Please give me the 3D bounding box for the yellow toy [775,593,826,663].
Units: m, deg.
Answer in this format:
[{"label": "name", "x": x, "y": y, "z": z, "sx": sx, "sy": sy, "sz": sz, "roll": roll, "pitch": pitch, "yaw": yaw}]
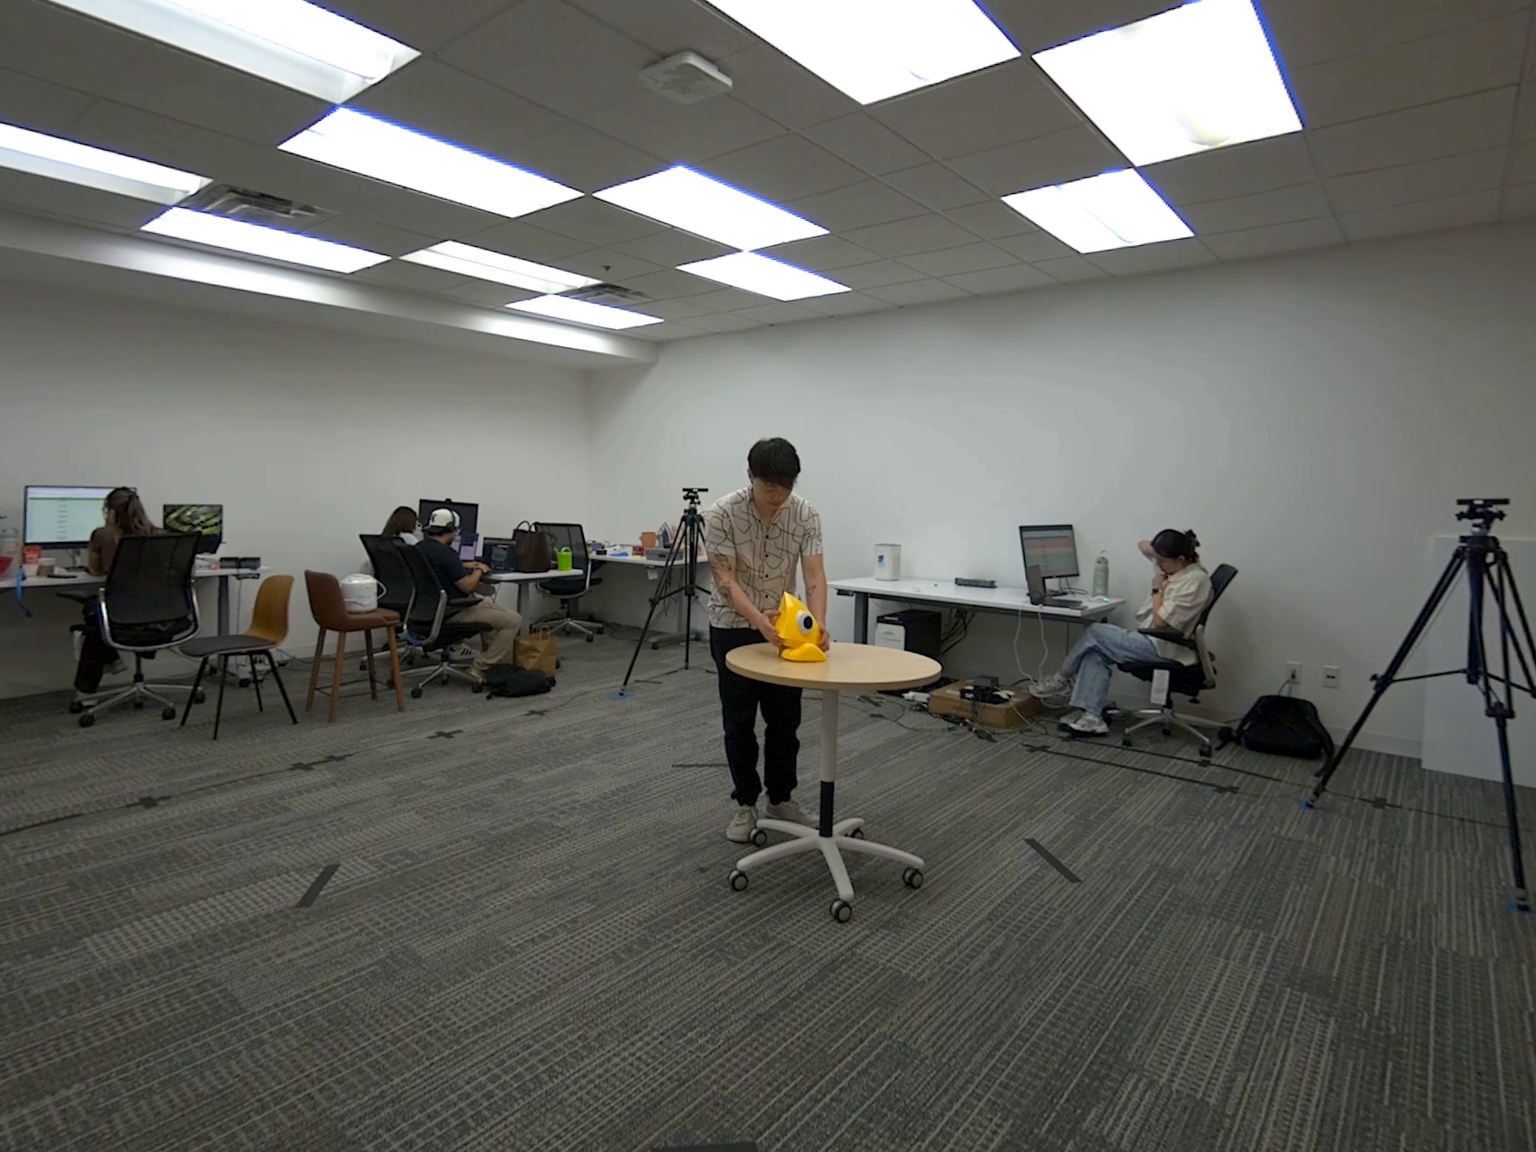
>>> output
[{"label": "yellow toy", "x": 0.109, "y": 0.167, "z": 3.086, "sx": 0.191, "sy": 0.230, "sz": 0.207, "roll": 4, "pitch": 2, "yaw": -11}]
